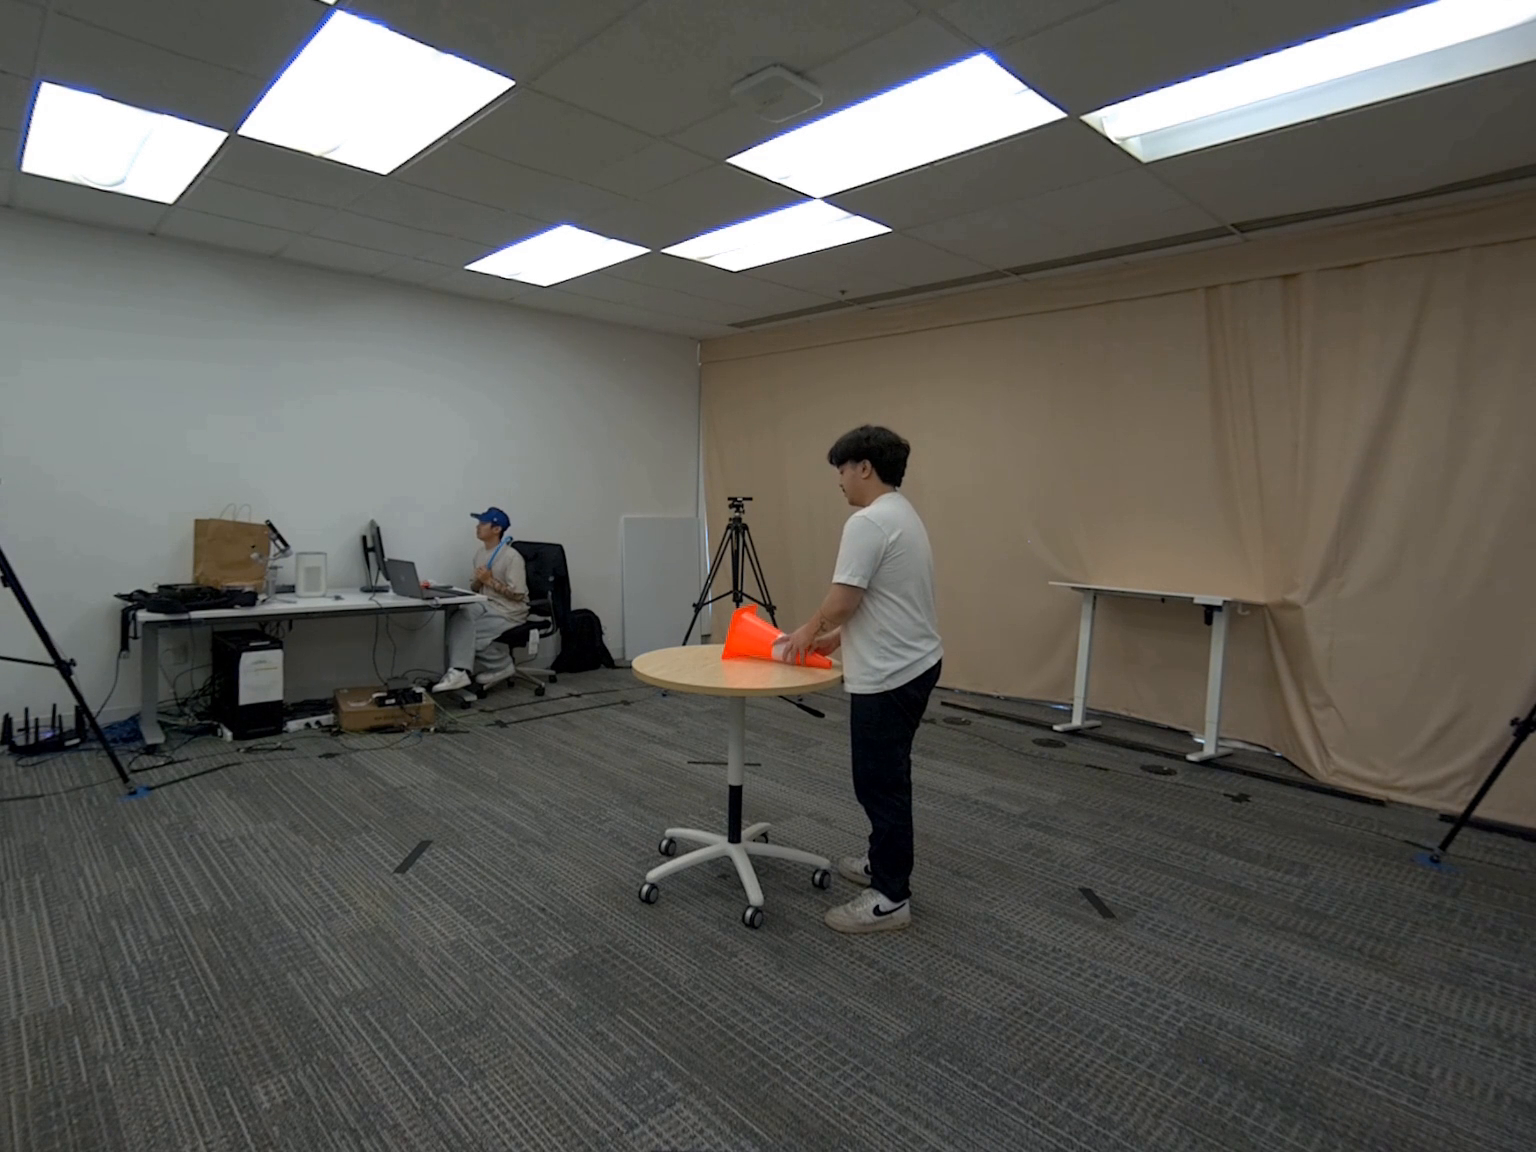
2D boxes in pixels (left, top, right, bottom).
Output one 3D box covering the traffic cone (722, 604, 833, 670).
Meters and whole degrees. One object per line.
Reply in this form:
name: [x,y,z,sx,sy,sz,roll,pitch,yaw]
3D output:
traffic cone: [0.053,0.265,3.074,0.392,0.202,0.201,17,8,25]
